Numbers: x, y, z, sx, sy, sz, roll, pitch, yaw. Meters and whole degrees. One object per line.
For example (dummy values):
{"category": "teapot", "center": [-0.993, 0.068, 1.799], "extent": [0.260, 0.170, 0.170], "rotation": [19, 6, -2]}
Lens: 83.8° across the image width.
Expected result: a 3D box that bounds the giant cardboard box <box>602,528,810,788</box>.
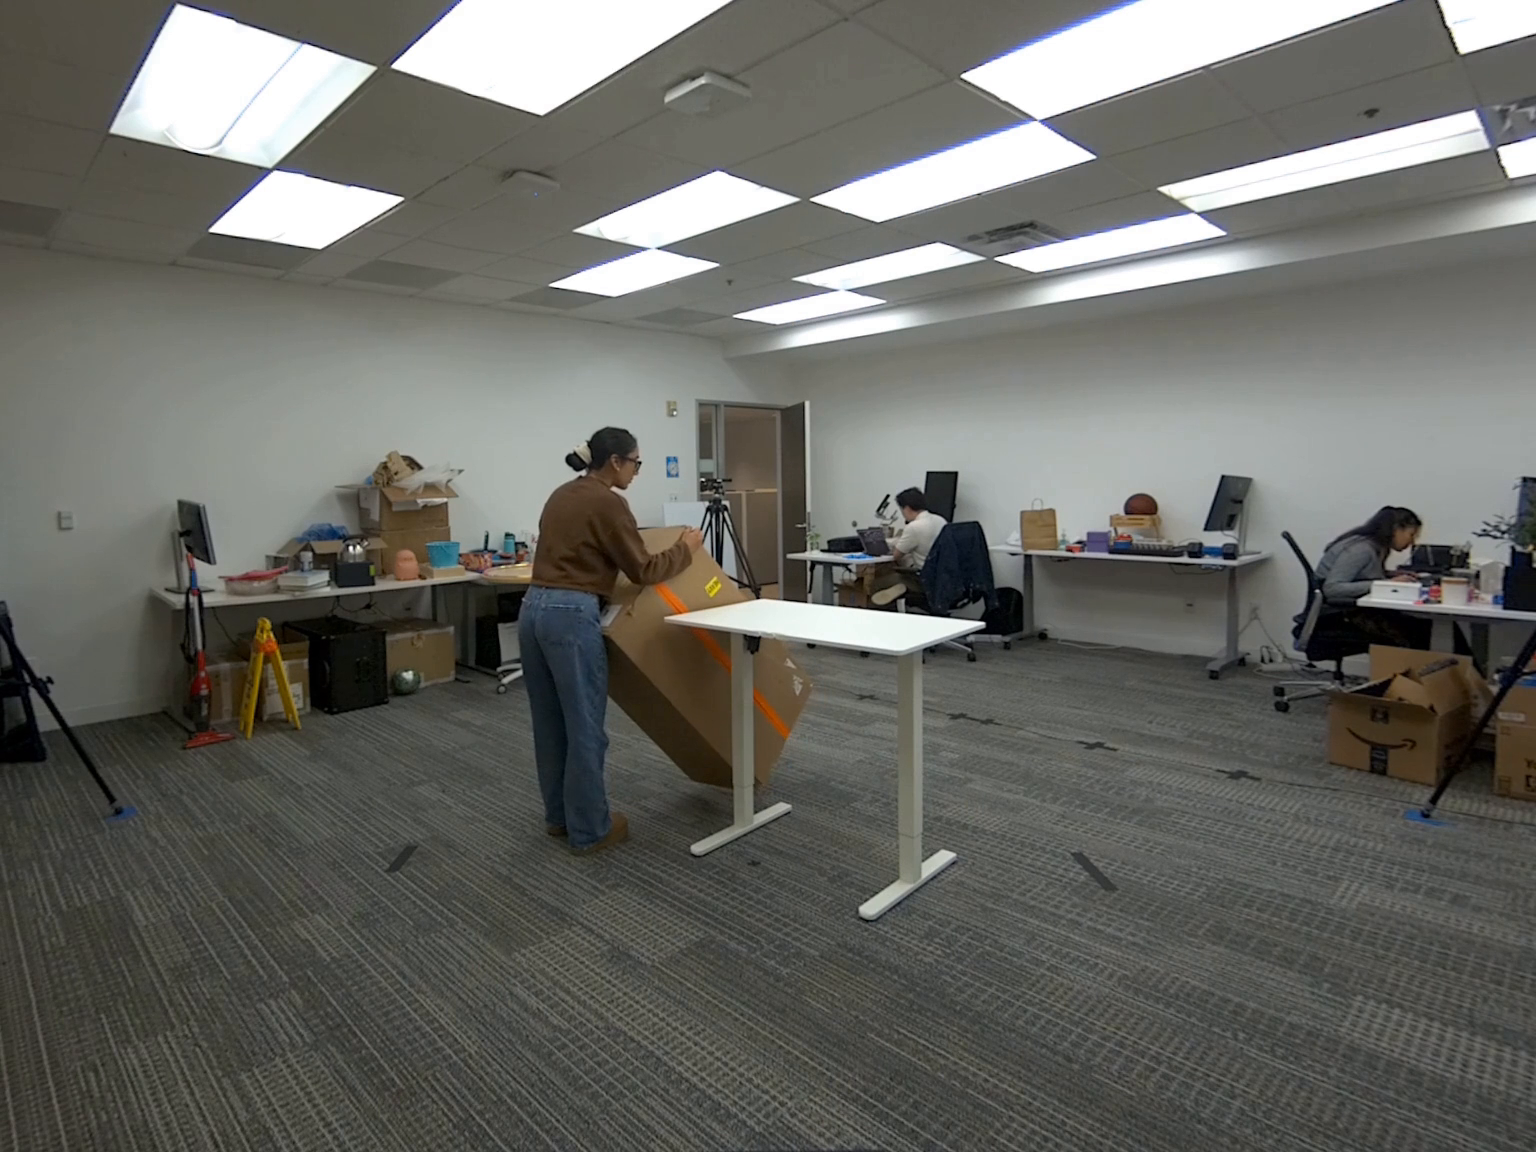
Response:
{"category": "giant cardboard box", "center": [-0.331, 0.366, 3.636], "extent": [0.437, 0.993, 0.581], "rotation": [-5, 42, 45]}
